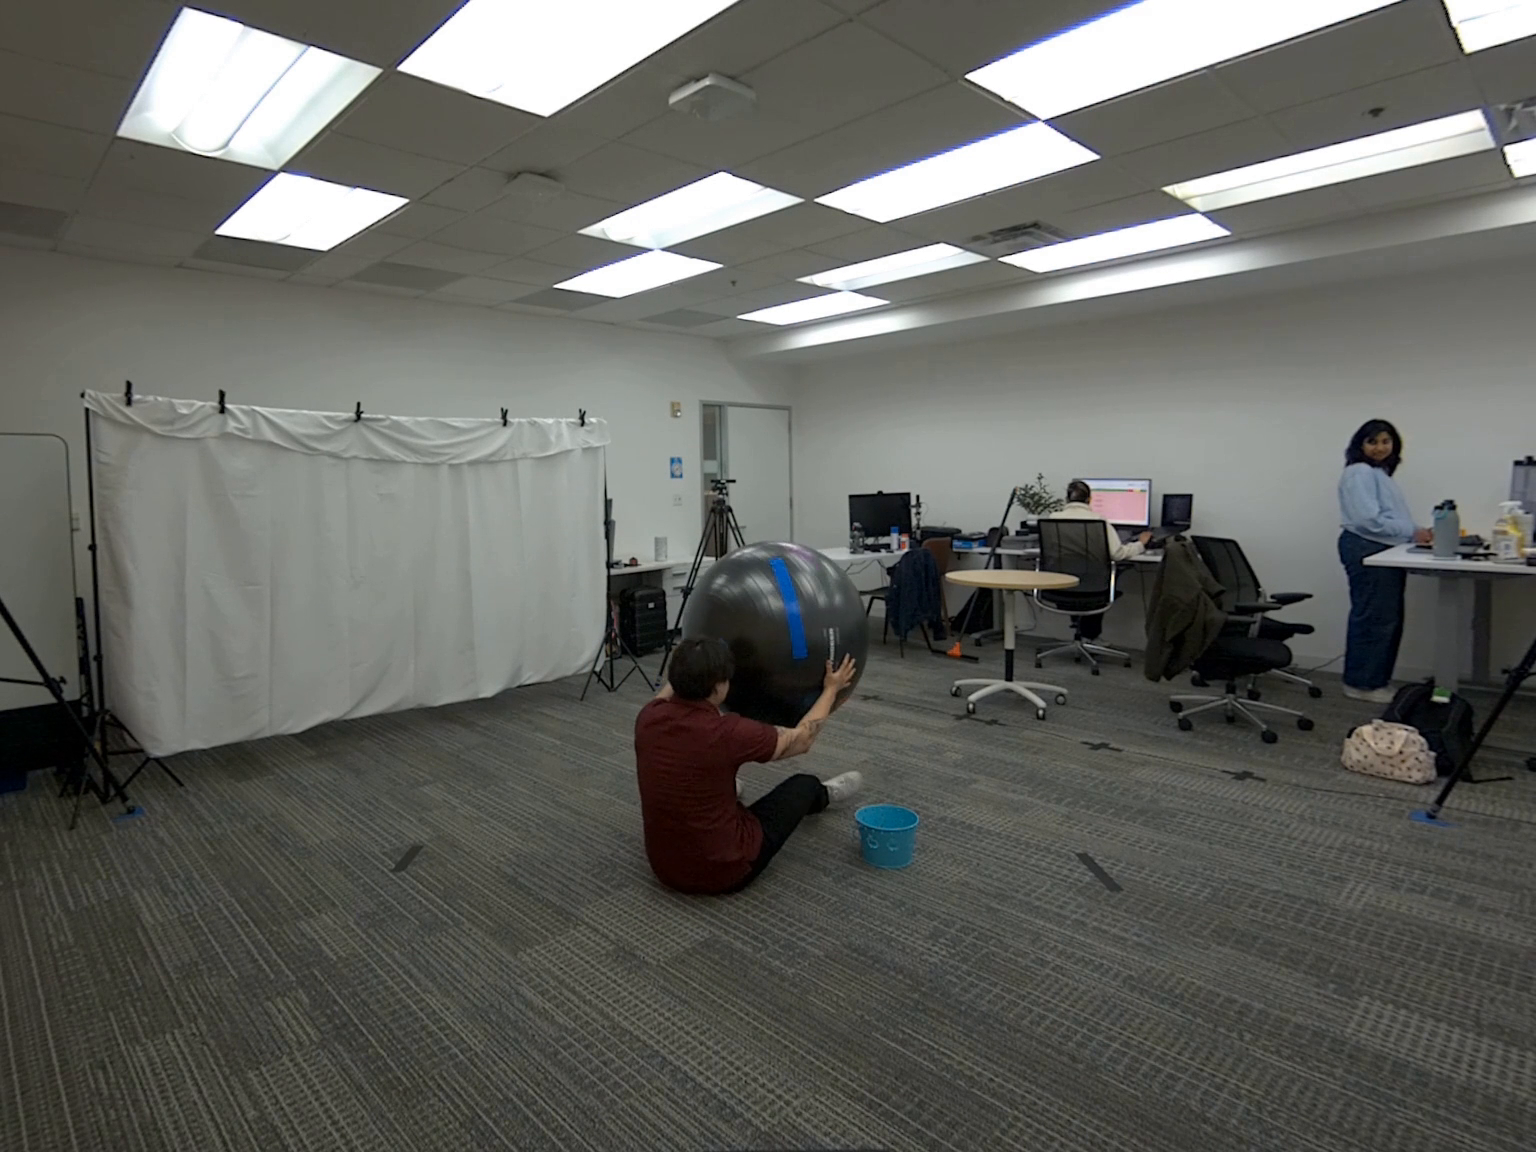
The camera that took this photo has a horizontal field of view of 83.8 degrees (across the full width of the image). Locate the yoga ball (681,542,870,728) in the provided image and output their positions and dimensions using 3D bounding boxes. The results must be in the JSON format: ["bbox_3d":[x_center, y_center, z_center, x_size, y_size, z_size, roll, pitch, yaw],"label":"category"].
[{"bbox_3d":[0.026,0.247,3.471,0.757,0.755,0.762,-1,5,-2],"label":"yoga ball"}]
